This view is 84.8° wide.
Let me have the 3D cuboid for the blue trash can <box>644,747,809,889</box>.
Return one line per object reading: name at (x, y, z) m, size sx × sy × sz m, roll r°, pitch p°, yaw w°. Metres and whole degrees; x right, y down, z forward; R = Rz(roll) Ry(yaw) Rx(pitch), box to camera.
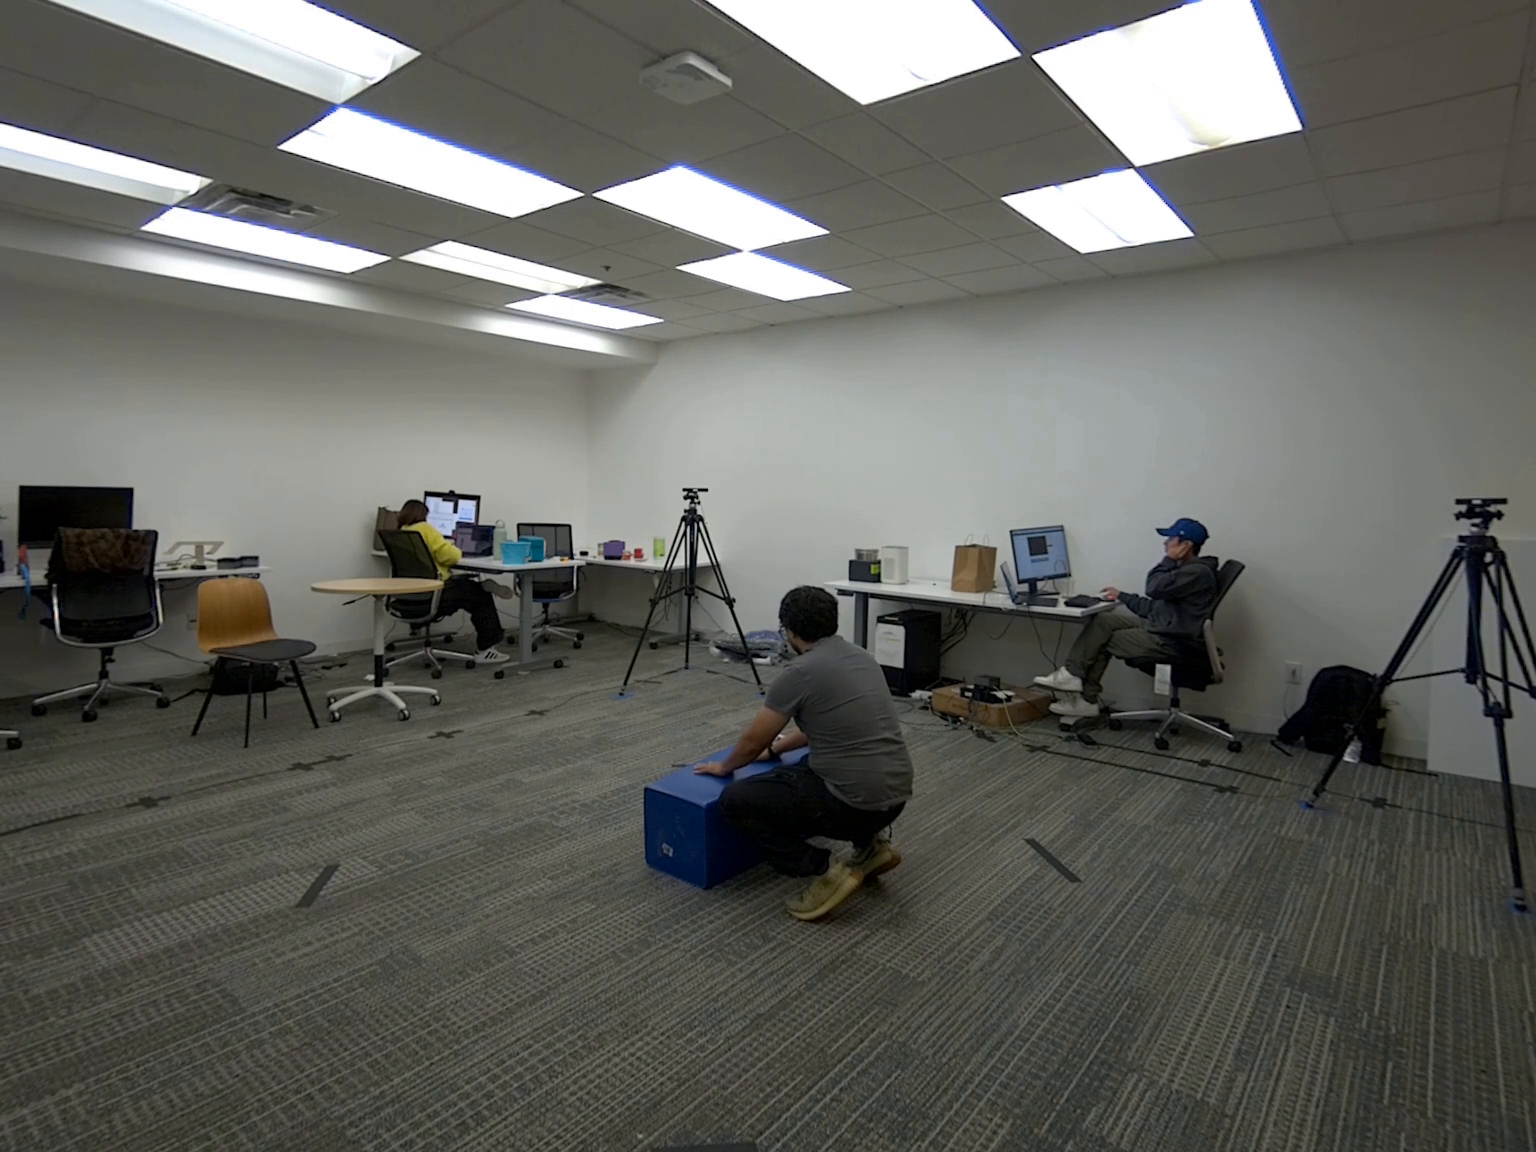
blue trash can at (-0.137, 0.882, 3.293) m, size 0.387 × 0.376 × 0.694 m, roll 4°, pitch 8°, yaw 39°
